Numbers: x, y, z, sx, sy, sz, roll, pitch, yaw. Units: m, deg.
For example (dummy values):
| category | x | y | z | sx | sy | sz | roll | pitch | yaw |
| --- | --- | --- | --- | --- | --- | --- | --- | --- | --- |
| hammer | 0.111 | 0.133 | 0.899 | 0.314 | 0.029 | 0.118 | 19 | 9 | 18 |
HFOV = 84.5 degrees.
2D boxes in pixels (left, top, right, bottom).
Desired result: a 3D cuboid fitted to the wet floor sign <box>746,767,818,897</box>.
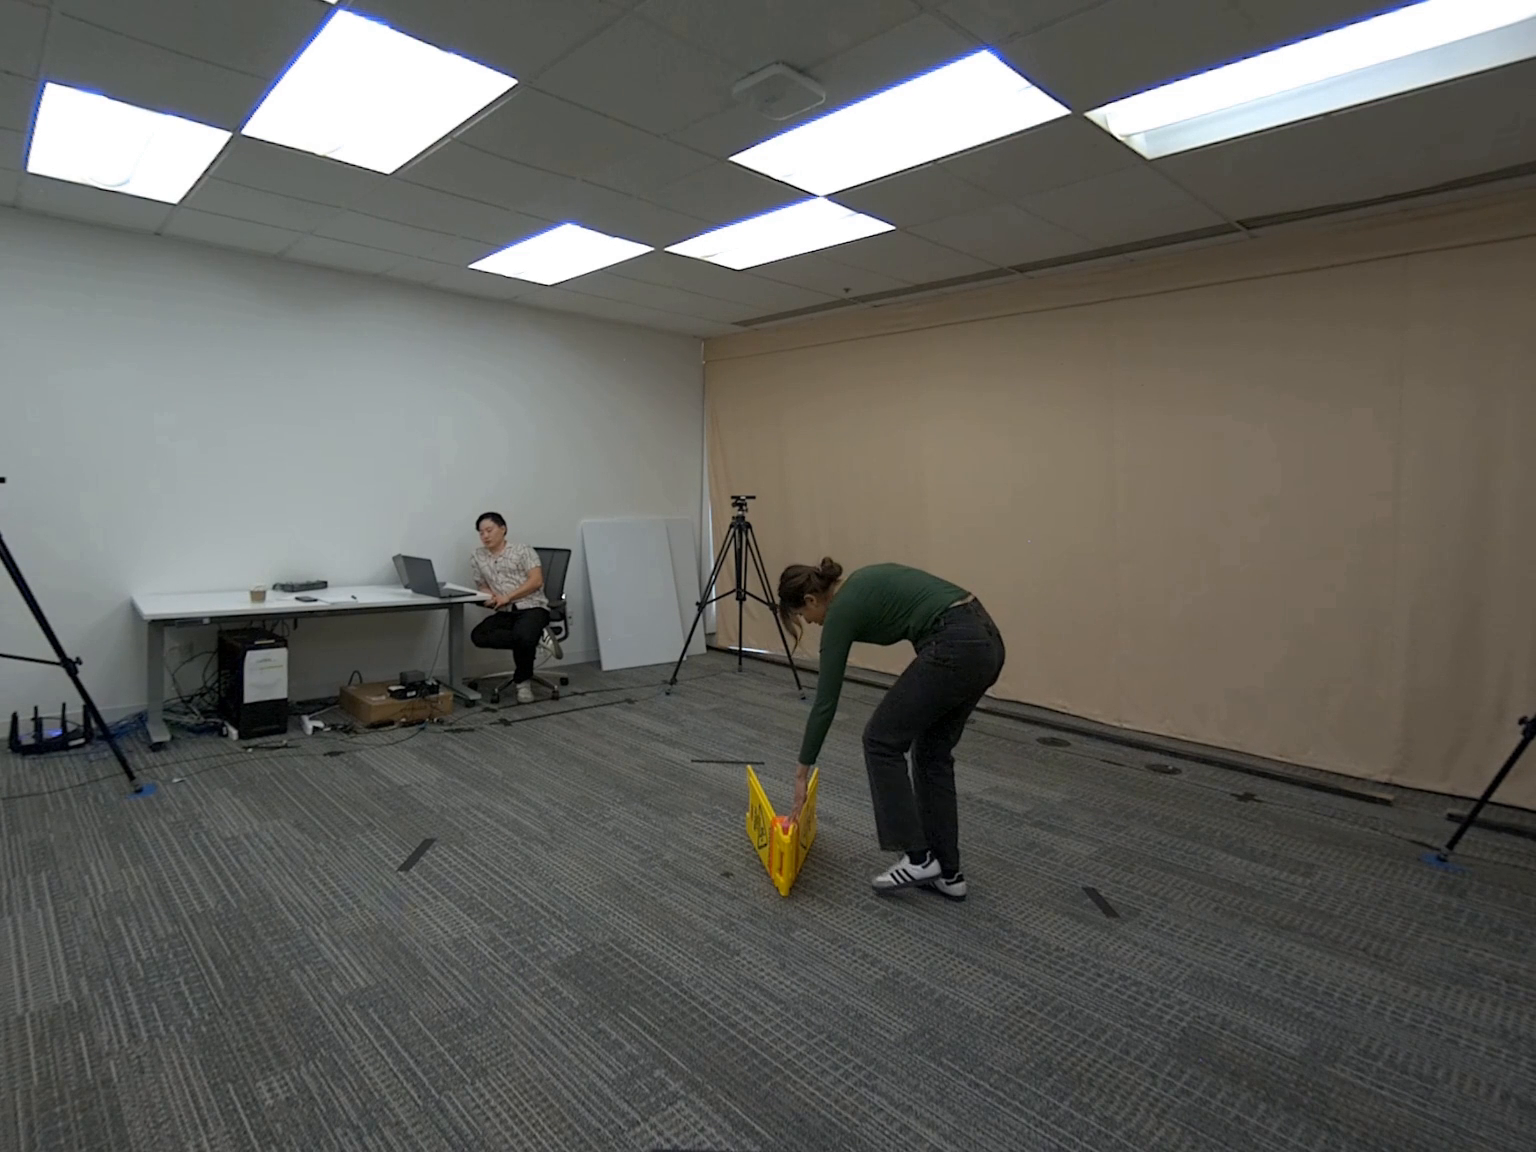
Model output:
| category | x | y | z | sx | sy | sz | roll | pitch | yaw |
| --- | --- | --- | --- | --- | --- | --- | --- | --- | --- |
| wet floor sign | 0.054 | 0.964 | 3.196 | 0.290 | 0.281 | 0.648 | 1 | 7 | 0 |
